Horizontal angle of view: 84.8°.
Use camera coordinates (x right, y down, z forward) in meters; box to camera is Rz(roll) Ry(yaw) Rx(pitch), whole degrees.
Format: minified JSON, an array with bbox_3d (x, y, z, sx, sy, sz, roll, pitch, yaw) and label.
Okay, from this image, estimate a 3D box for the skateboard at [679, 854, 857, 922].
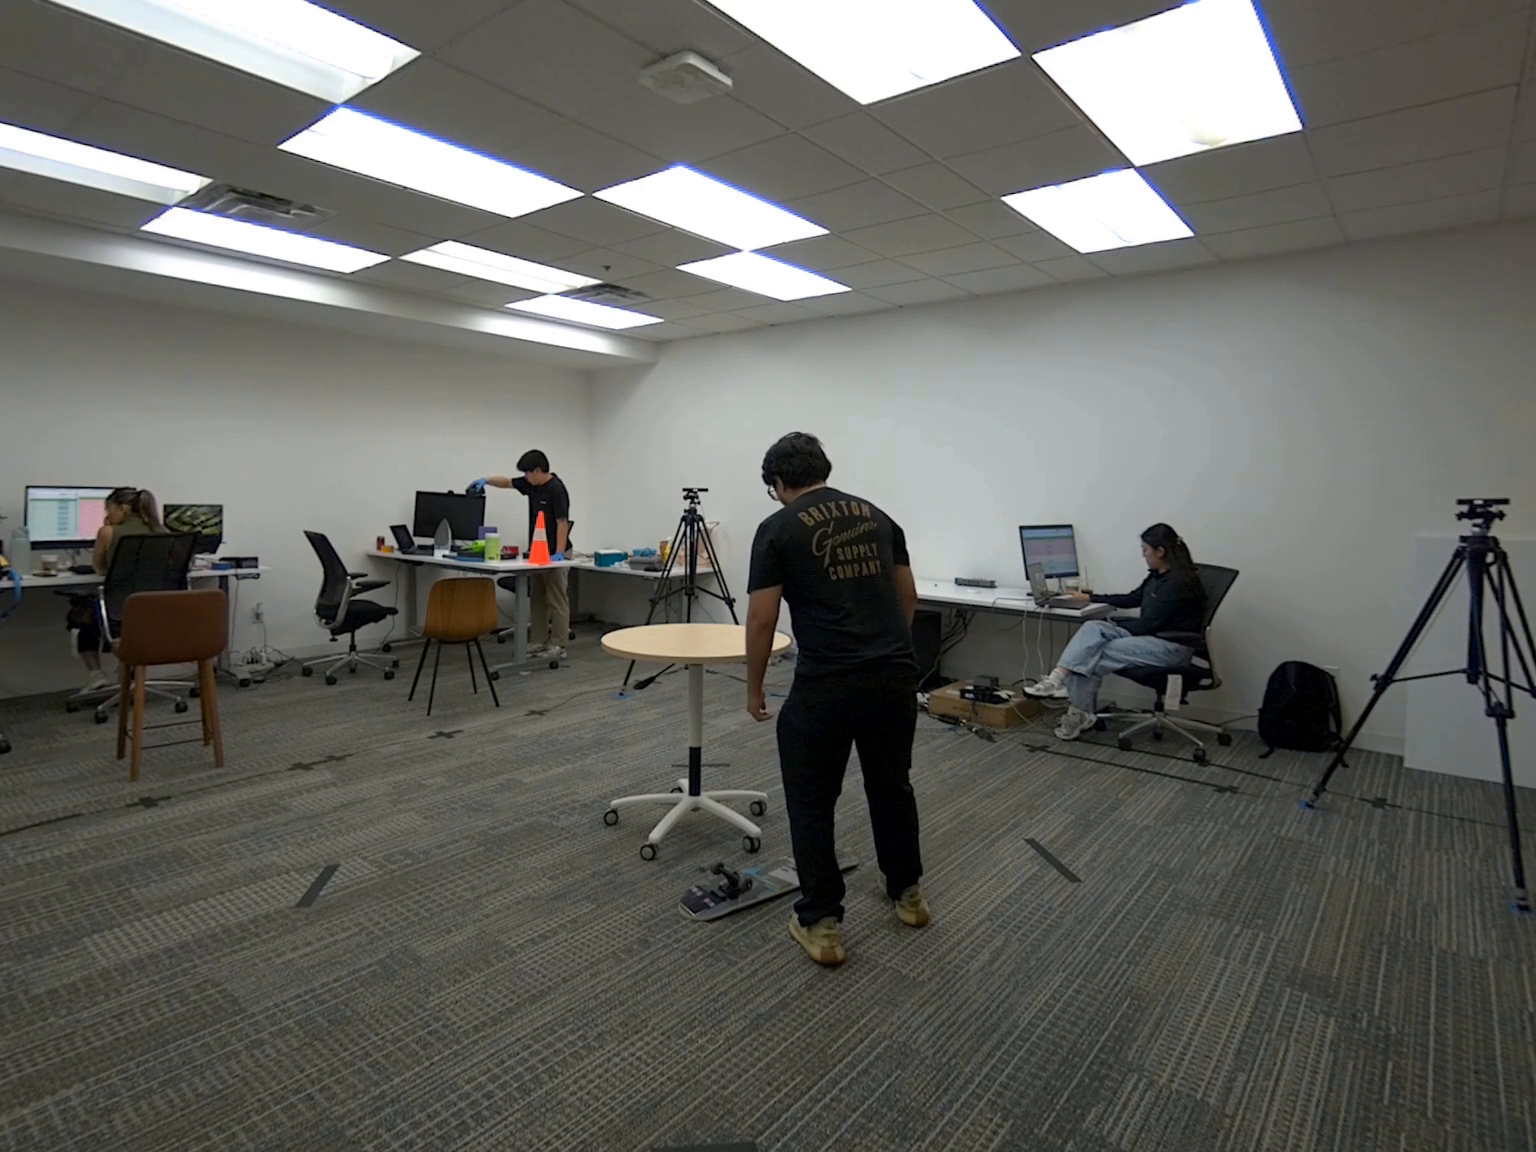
[{"bbox_3d":[0.019,1.035,3.003,0.762,0.110,0.200,-3,7,-39],"label":"skateboard"}]
